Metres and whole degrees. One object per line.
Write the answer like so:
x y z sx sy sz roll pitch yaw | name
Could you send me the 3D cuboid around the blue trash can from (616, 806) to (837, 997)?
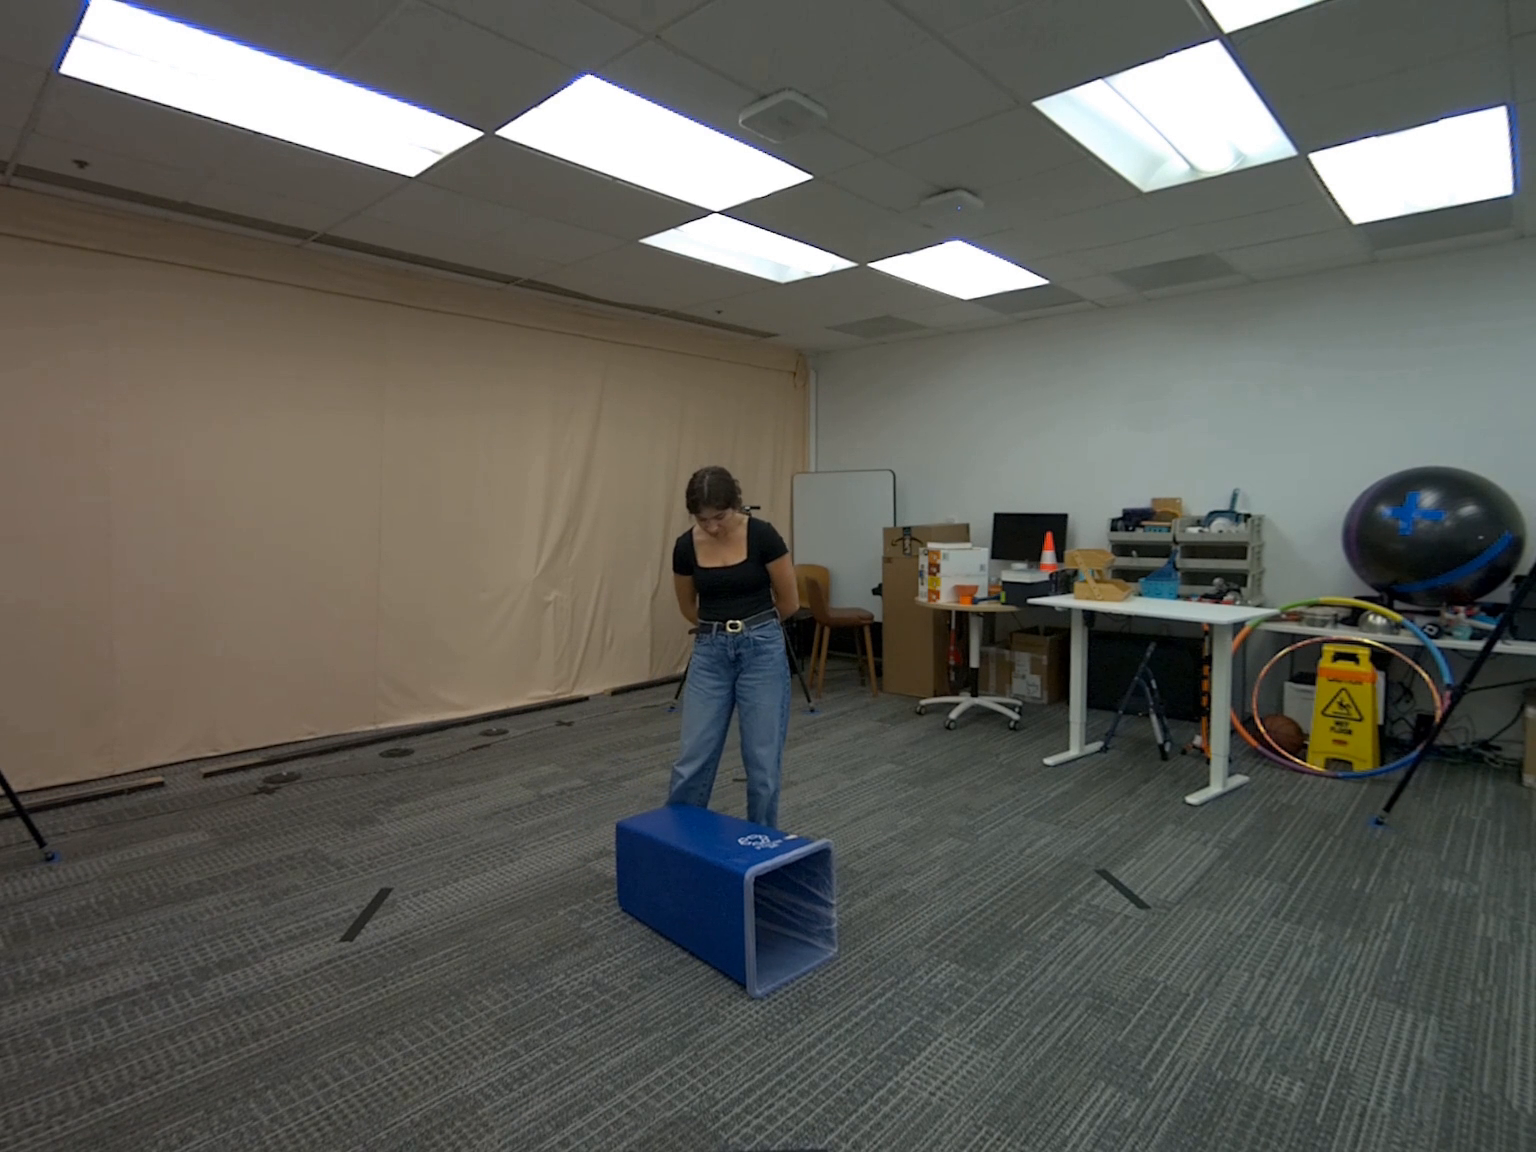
-0.166 1.000 2.731 0.362 0.378 0.736 -3 2 -45 | blue trash can
